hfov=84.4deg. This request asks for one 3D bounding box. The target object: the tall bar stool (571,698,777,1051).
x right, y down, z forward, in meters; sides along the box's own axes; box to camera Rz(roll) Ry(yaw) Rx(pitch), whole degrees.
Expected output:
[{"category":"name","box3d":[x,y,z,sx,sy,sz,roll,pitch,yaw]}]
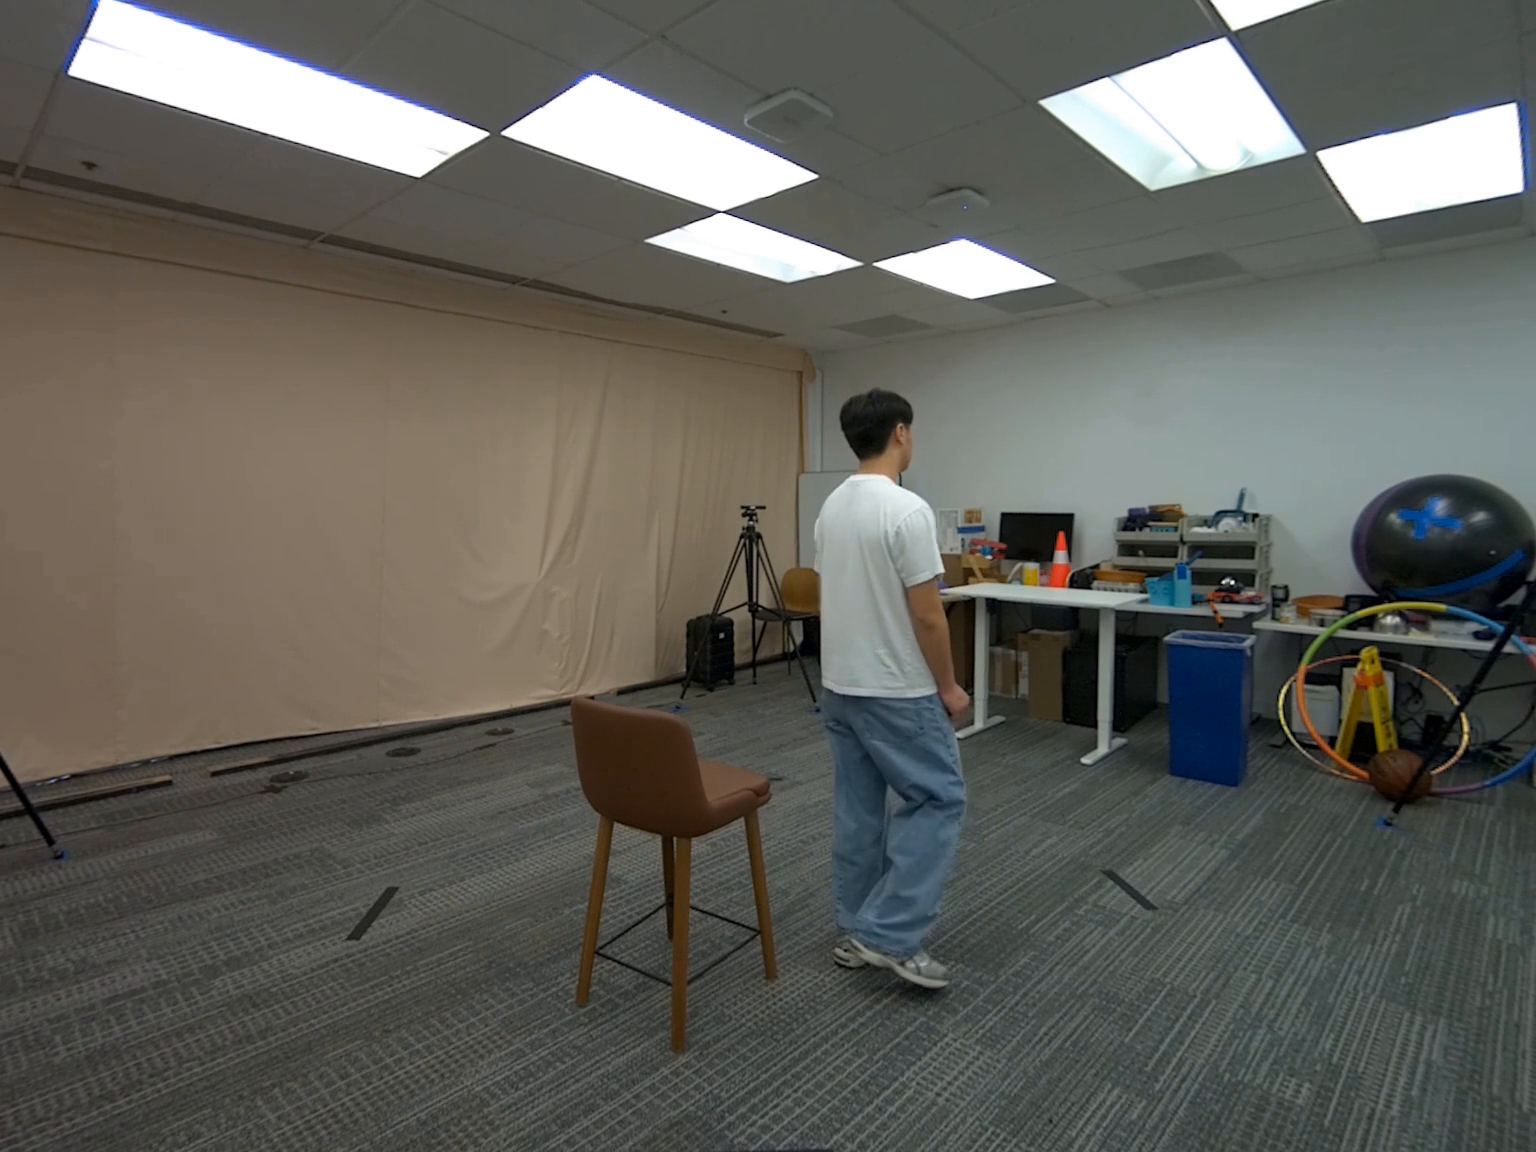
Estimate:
[{"category":"tall bar stool","box3d":[-0.267,0.762,2.398,0.471,0.887,0.455,1,6,35]}]
